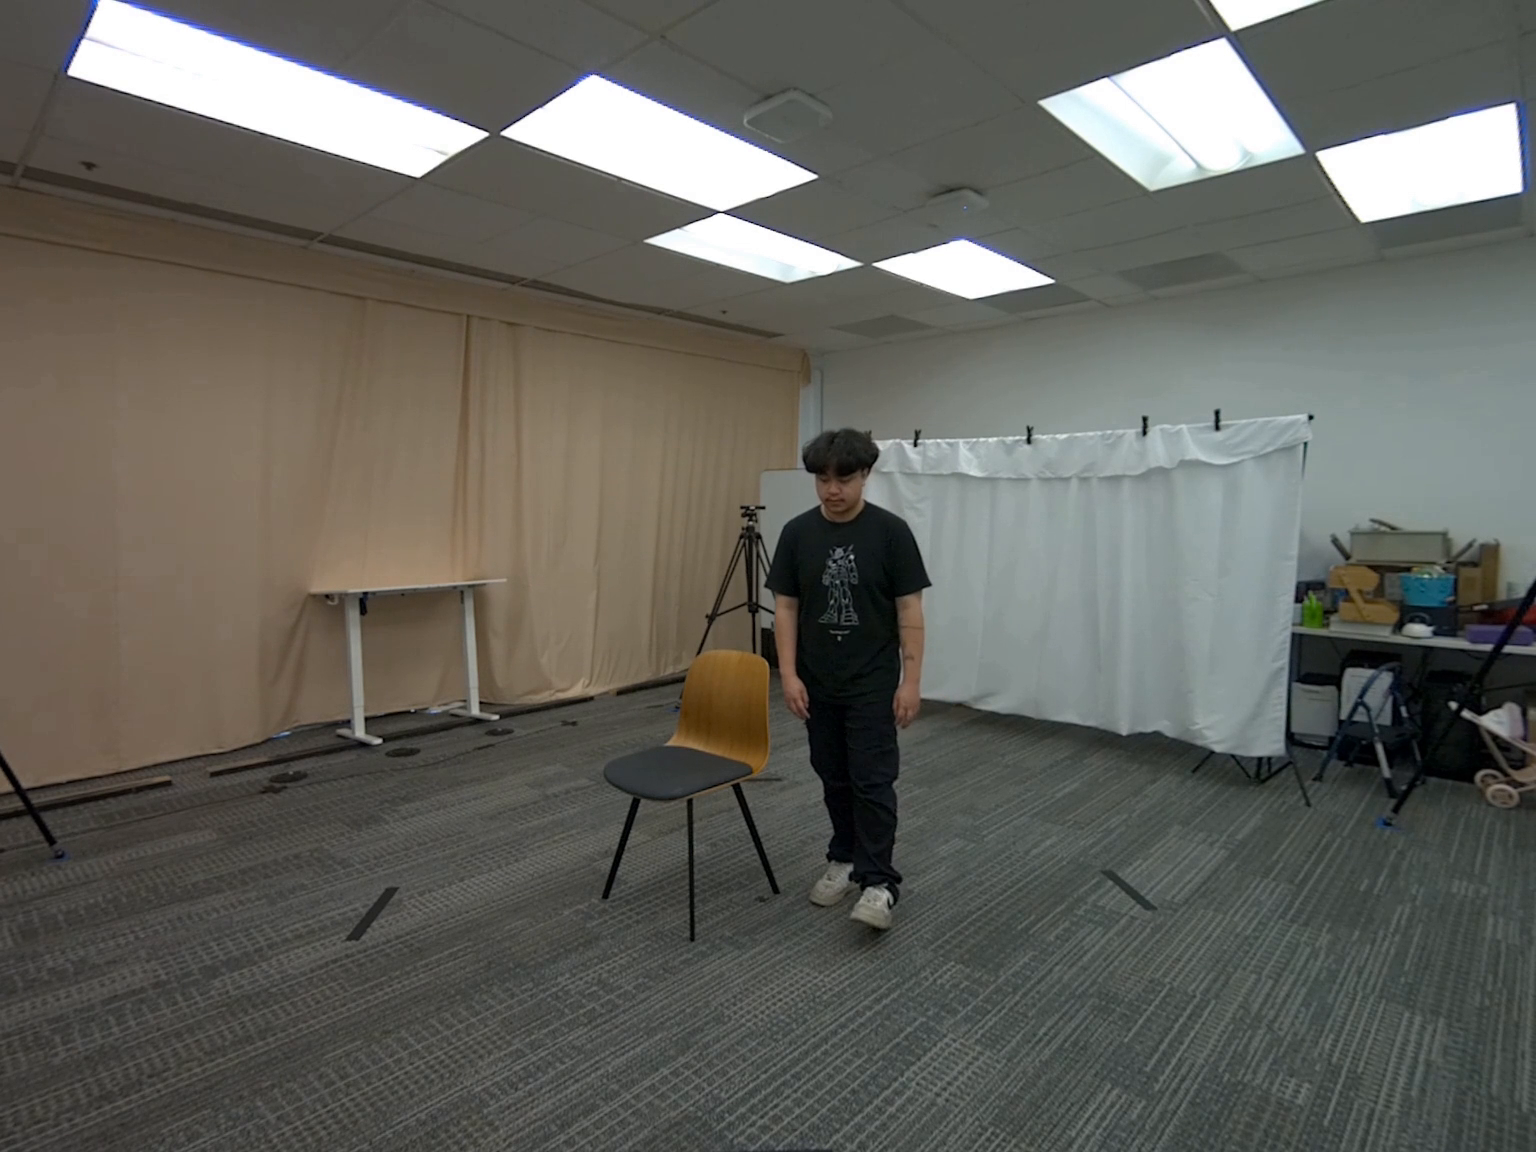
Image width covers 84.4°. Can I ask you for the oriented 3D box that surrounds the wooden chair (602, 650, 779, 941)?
[{"bbox_3d":[-0.277,0.723,2.977,0.494,0.877,0.506,3,0,40],"label":"wooden chair"}]
